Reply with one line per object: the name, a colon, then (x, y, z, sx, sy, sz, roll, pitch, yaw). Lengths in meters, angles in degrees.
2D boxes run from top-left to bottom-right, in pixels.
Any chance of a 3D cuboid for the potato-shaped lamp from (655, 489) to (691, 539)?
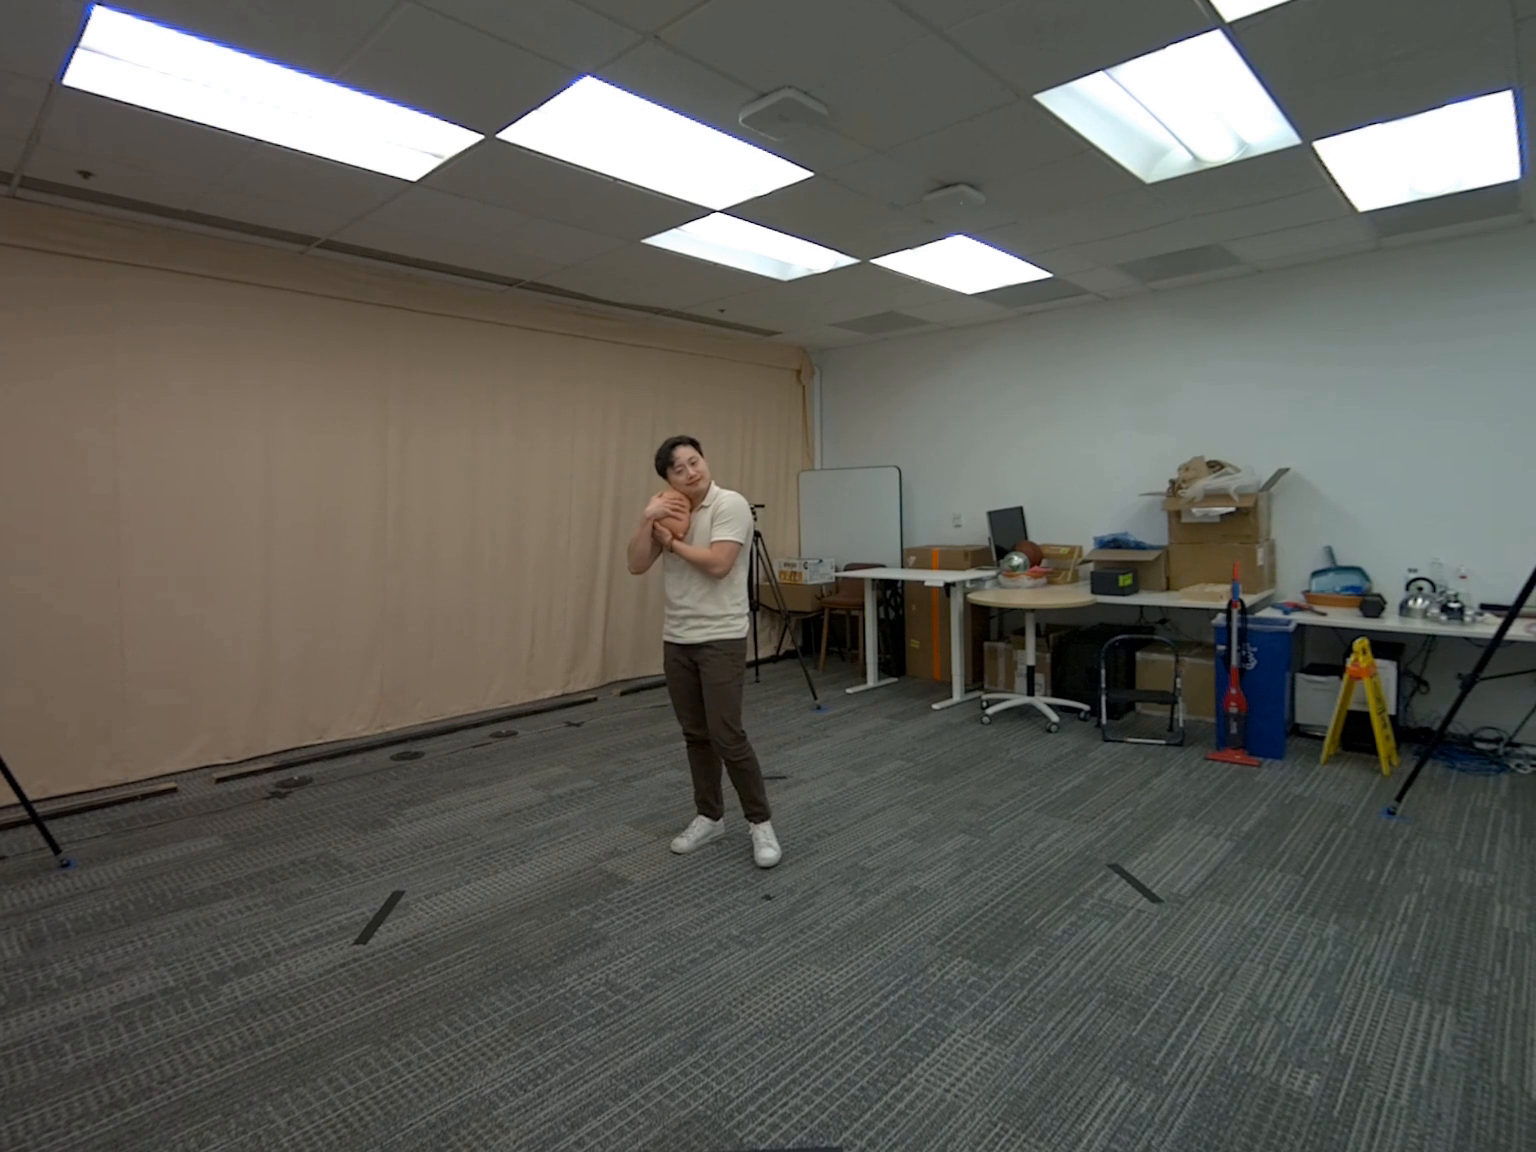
potato-shaped lamp: (-0.383, -0.248, 3.384, 0.170, 0.166, 0.198, -3, 45, 42)
